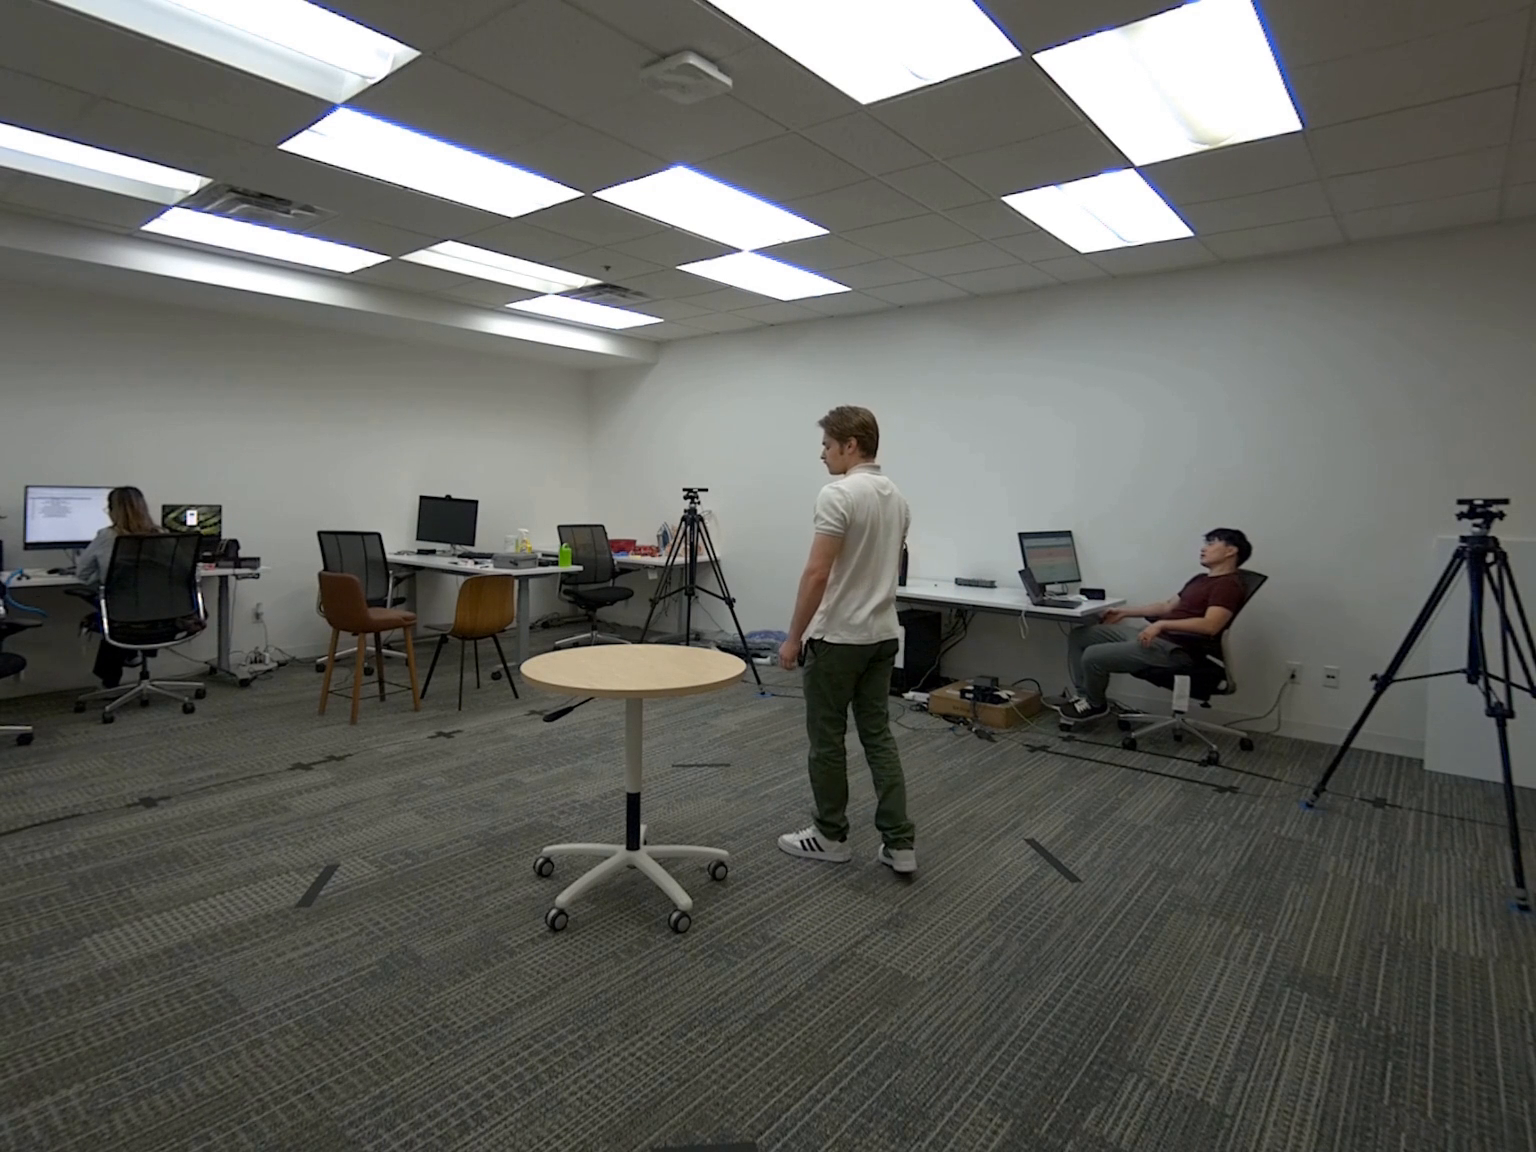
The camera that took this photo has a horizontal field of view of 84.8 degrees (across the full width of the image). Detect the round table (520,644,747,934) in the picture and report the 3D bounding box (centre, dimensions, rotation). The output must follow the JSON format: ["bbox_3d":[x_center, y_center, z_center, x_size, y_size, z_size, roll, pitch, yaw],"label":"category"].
[{"bbox_3d":[-0.471,0.694,2.930,0.763,0.791,0.768,0,4,-2],"label":"round table"}]
